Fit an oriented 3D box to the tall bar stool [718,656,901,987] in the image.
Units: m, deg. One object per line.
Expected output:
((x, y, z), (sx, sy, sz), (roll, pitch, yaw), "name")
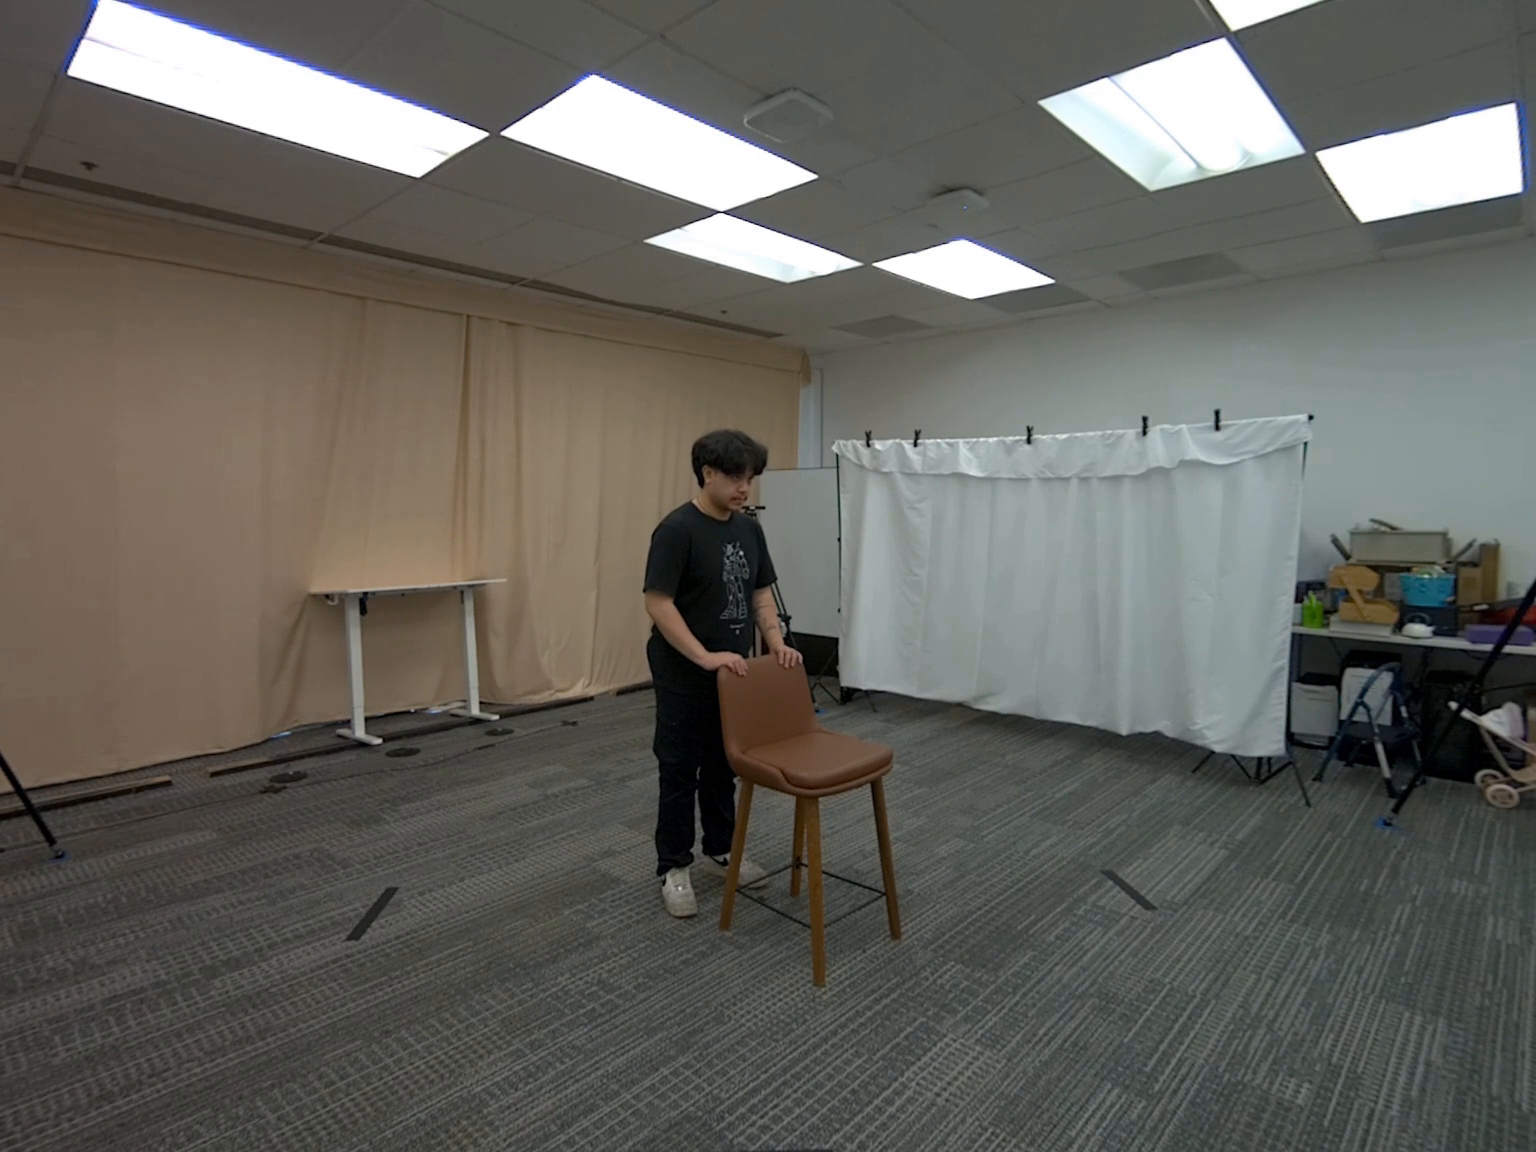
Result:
((0.125, 0.729, 2.721), (0.442, 0.889, 0.483), (-3, 2, -45), "tall bar stool")
